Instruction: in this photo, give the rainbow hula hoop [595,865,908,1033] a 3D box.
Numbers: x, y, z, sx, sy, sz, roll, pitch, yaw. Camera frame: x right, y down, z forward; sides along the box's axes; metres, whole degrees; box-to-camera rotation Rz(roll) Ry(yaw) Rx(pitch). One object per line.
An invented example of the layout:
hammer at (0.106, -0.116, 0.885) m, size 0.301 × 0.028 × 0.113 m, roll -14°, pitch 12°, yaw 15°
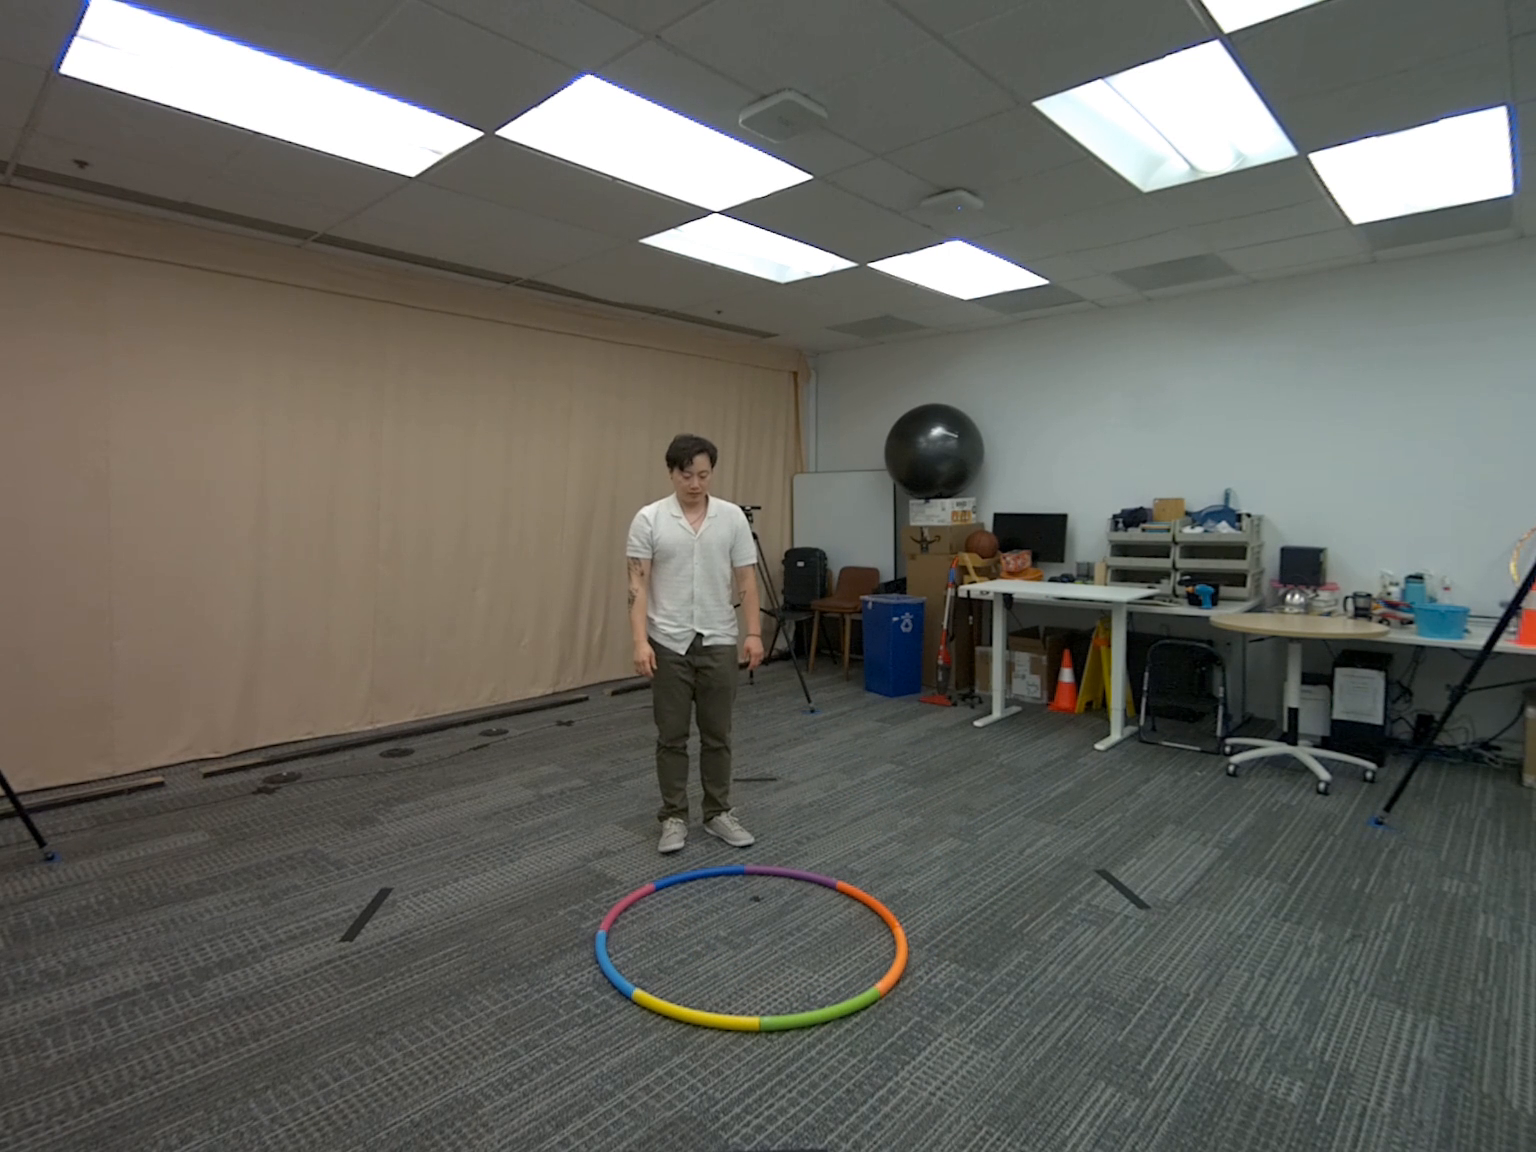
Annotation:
rainbow hula hoop at (-0.055, 1.136, 2.710) m, size 0.978 × 0.035 × 0.982 m, roll -1°, pitch 4°, yaw -2°
